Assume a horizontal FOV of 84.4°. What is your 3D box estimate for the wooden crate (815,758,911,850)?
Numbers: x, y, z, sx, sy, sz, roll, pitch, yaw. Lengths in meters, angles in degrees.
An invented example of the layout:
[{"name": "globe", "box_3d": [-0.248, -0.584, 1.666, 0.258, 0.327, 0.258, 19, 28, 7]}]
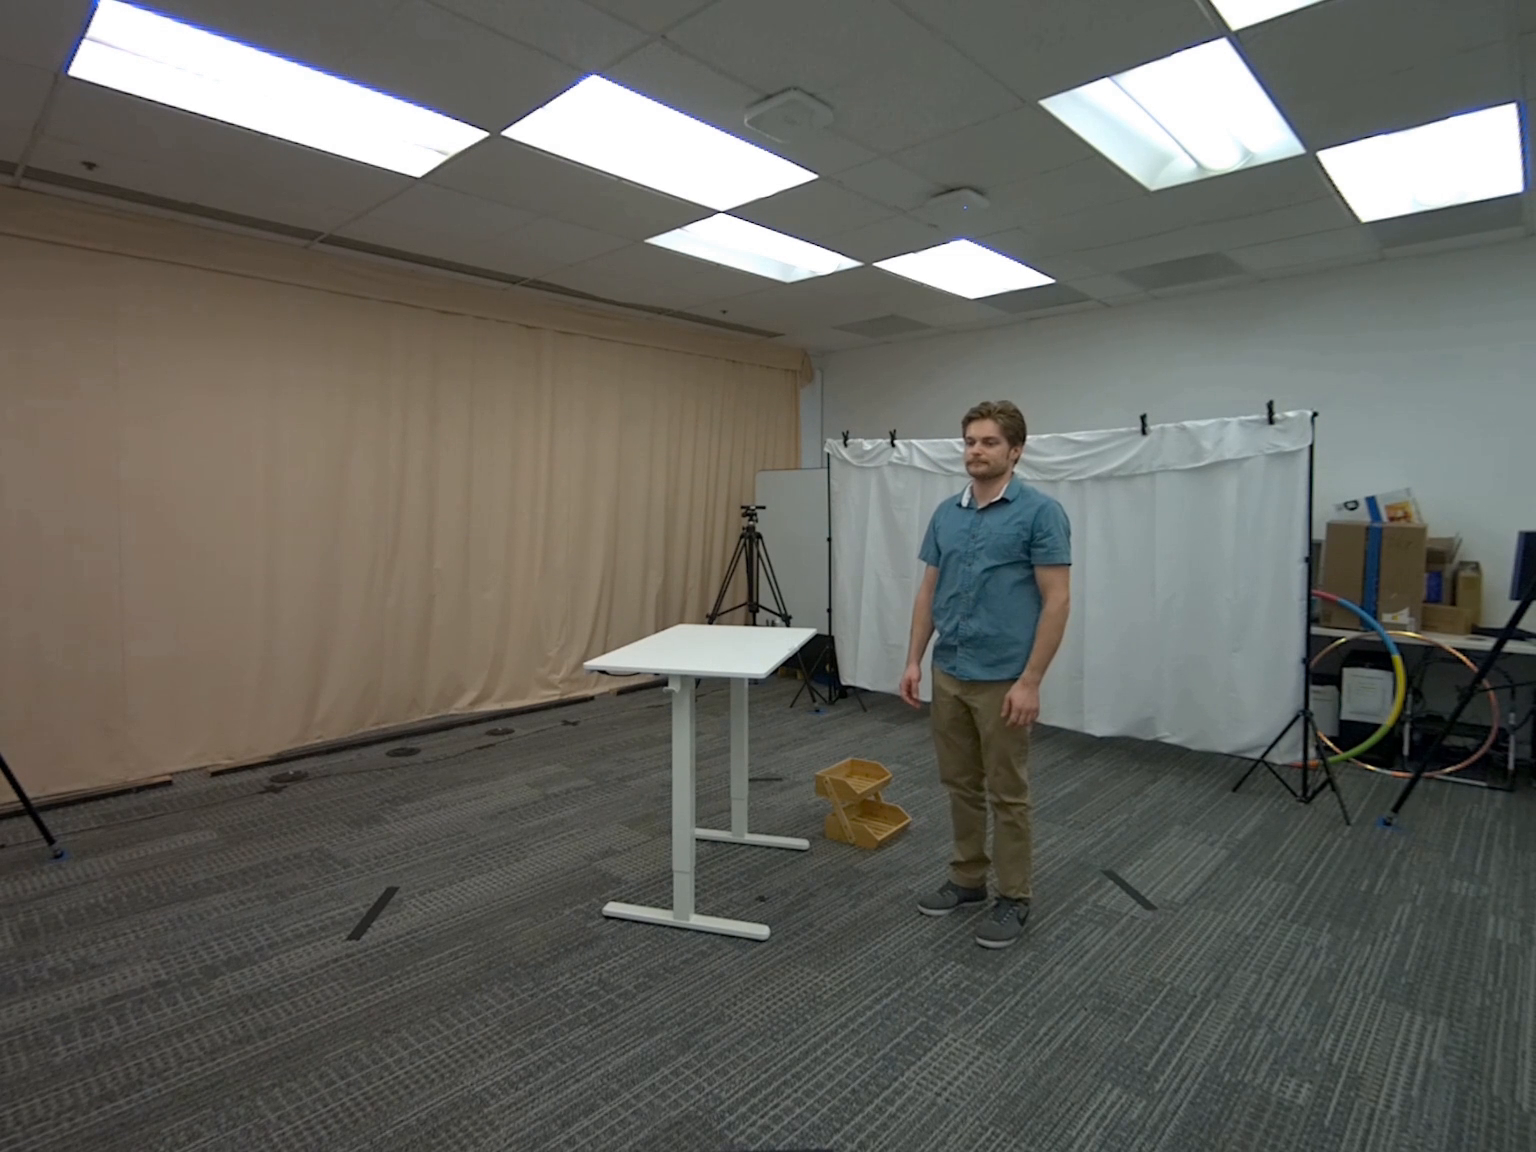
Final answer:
[{"name": "wooden crate", "box_3d": [0.412, 0.958, 3.590, 0.312, 0.273, 0.315, 2, 5, 37]}]
